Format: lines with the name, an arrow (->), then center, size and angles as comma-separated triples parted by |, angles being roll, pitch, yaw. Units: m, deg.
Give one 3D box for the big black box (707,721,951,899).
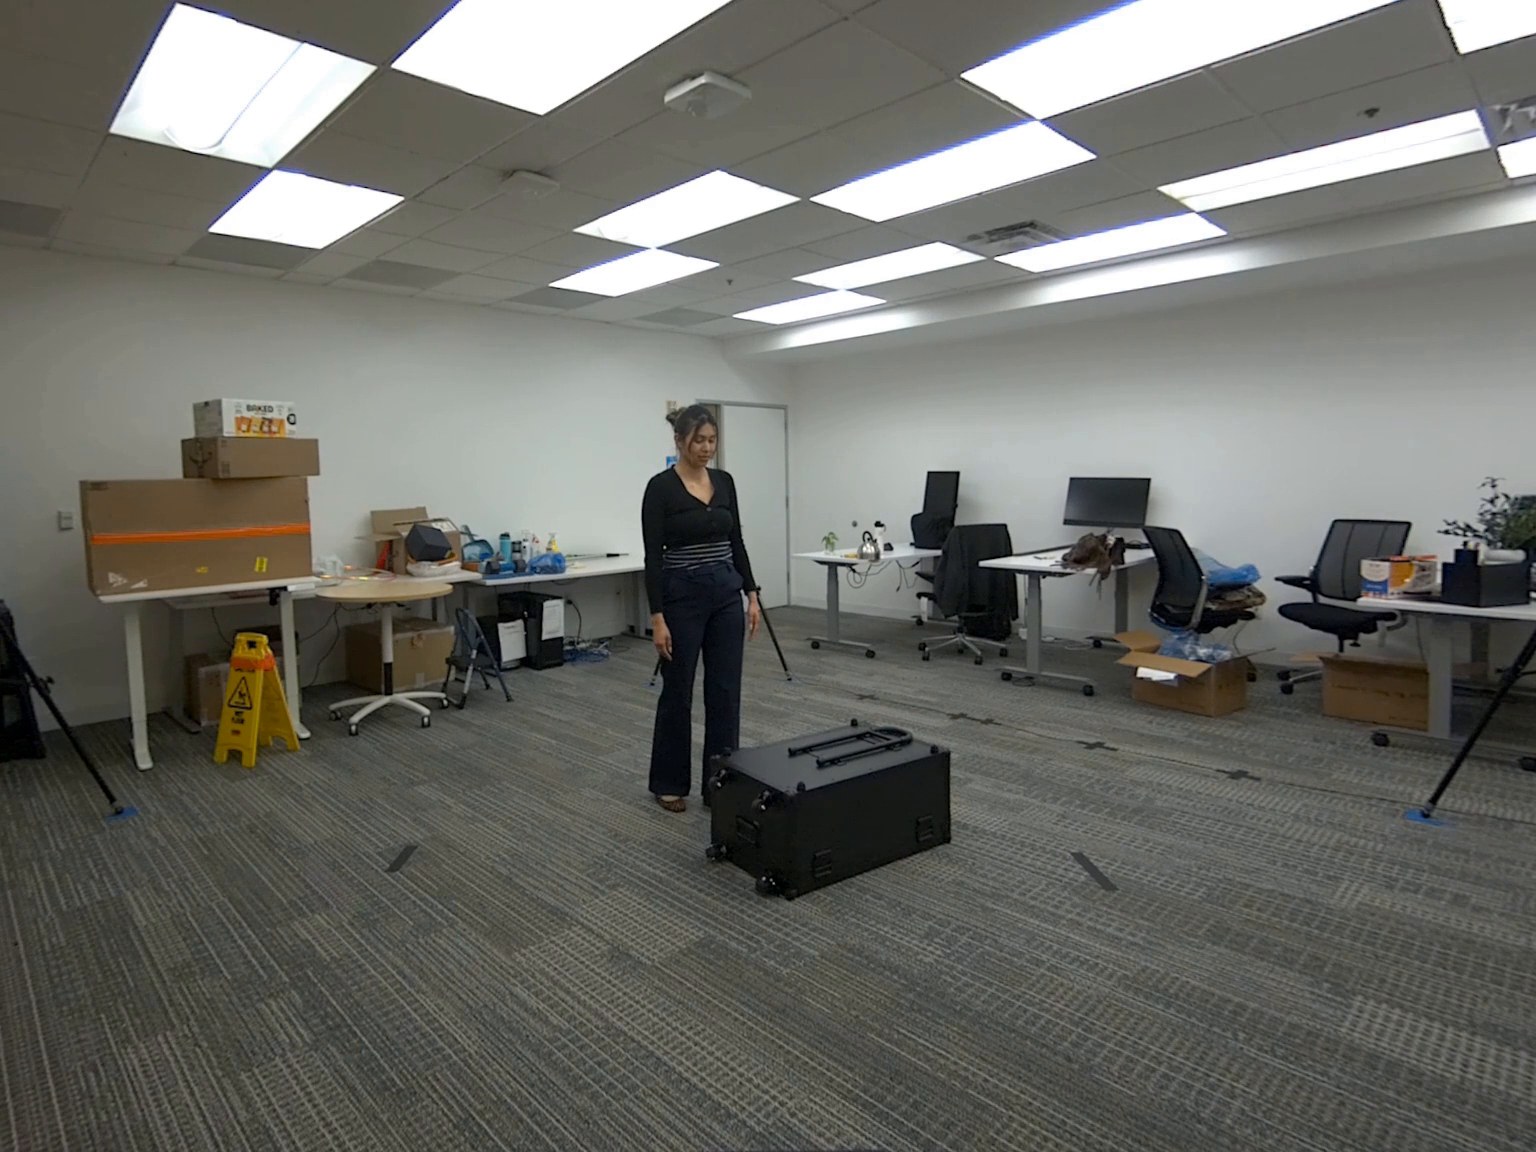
big black box -> 0.265, 0.850, 3.237 | 0.840, 0.394, 0.537 | -5, 7, -35
